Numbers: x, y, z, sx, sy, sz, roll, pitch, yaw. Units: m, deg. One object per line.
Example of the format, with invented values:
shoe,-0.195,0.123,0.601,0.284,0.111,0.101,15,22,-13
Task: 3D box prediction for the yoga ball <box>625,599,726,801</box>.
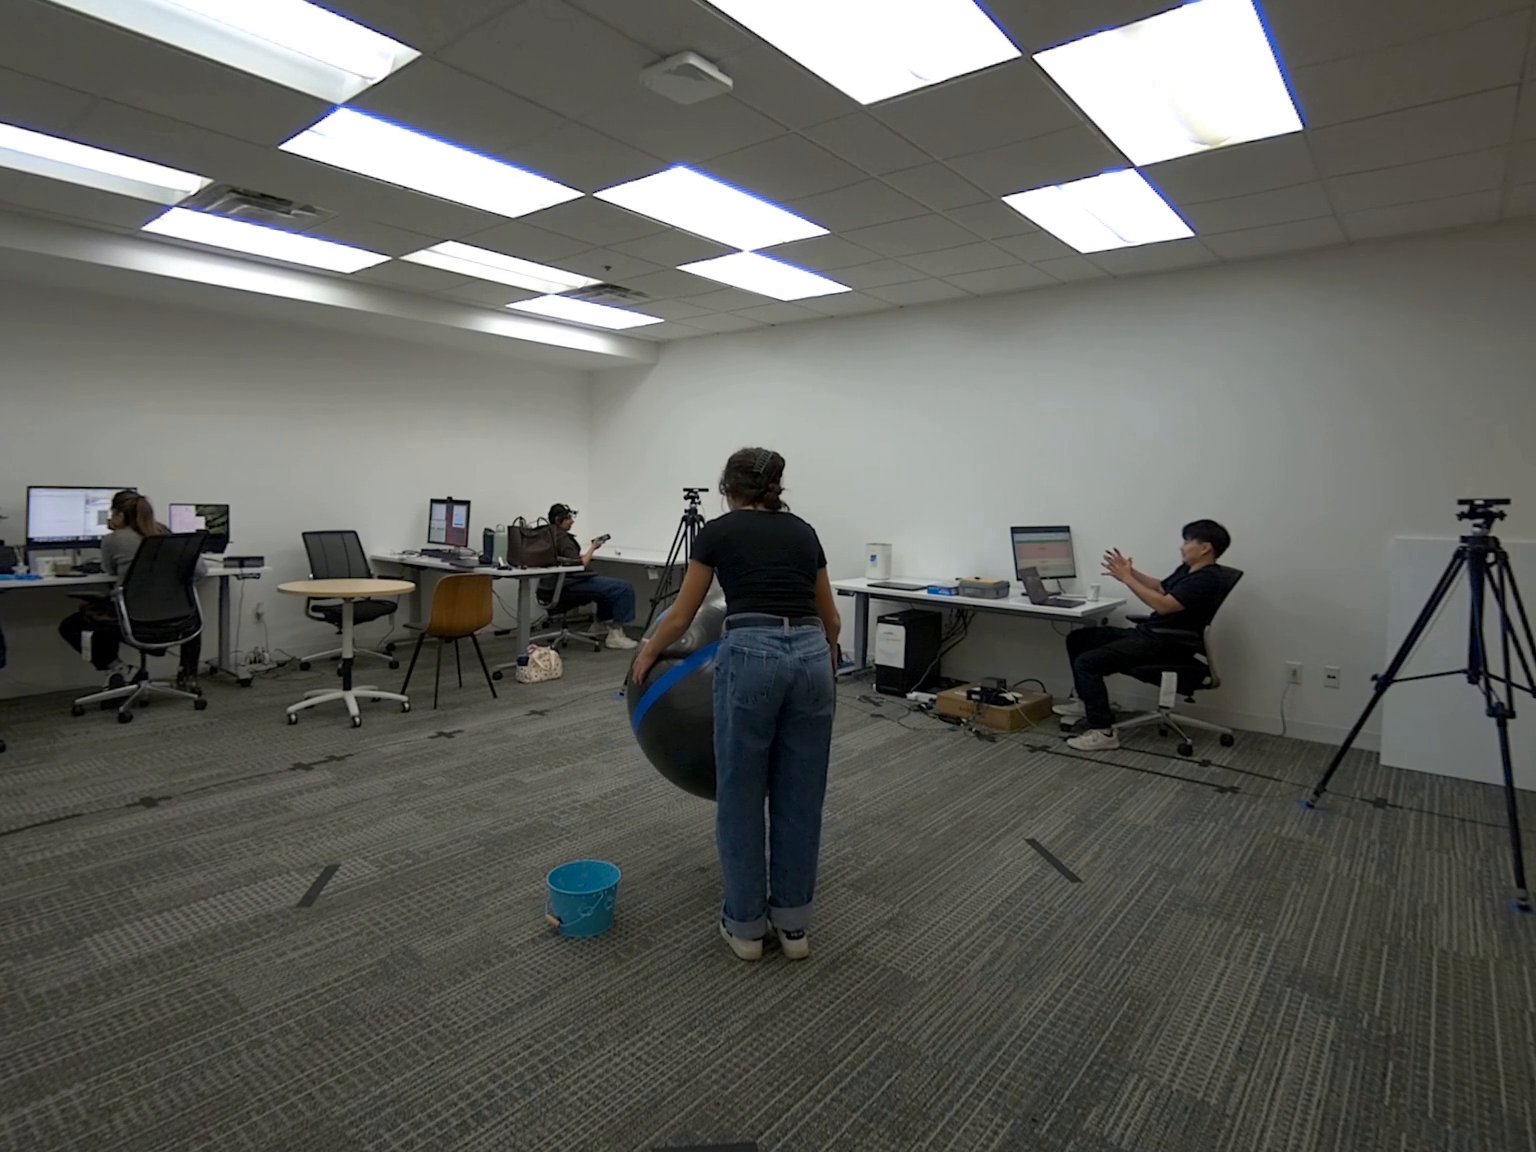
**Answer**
yoga ball,-0.138,0.430,3.075,0.757,0.755,0.762,1,4,-2
